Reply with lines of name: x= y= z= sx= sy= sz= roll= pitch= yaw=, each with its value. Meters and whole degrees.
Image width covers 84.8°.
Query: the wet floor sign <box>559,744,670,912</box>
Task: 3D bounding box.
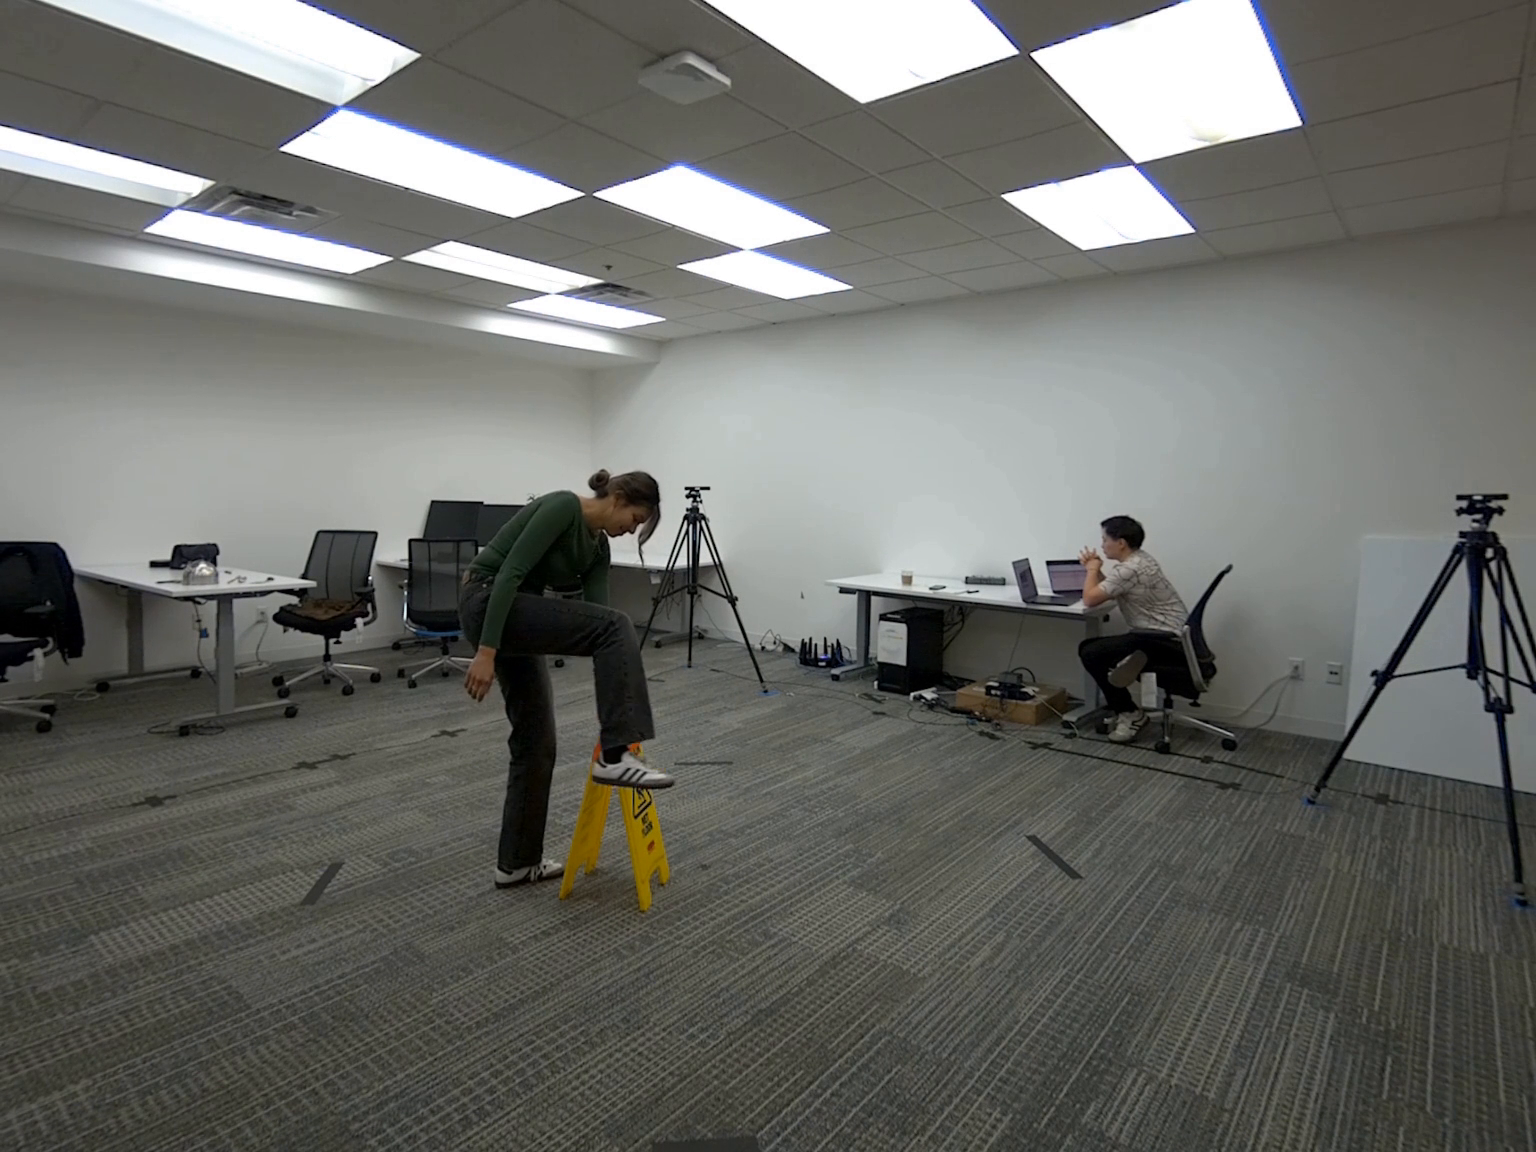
wet floor sign: x=-0.526 y=0.755 z=2.928 sx=0.294 sy=0.645 sz=0.278 roll=2 pitch=2 yaw=14
